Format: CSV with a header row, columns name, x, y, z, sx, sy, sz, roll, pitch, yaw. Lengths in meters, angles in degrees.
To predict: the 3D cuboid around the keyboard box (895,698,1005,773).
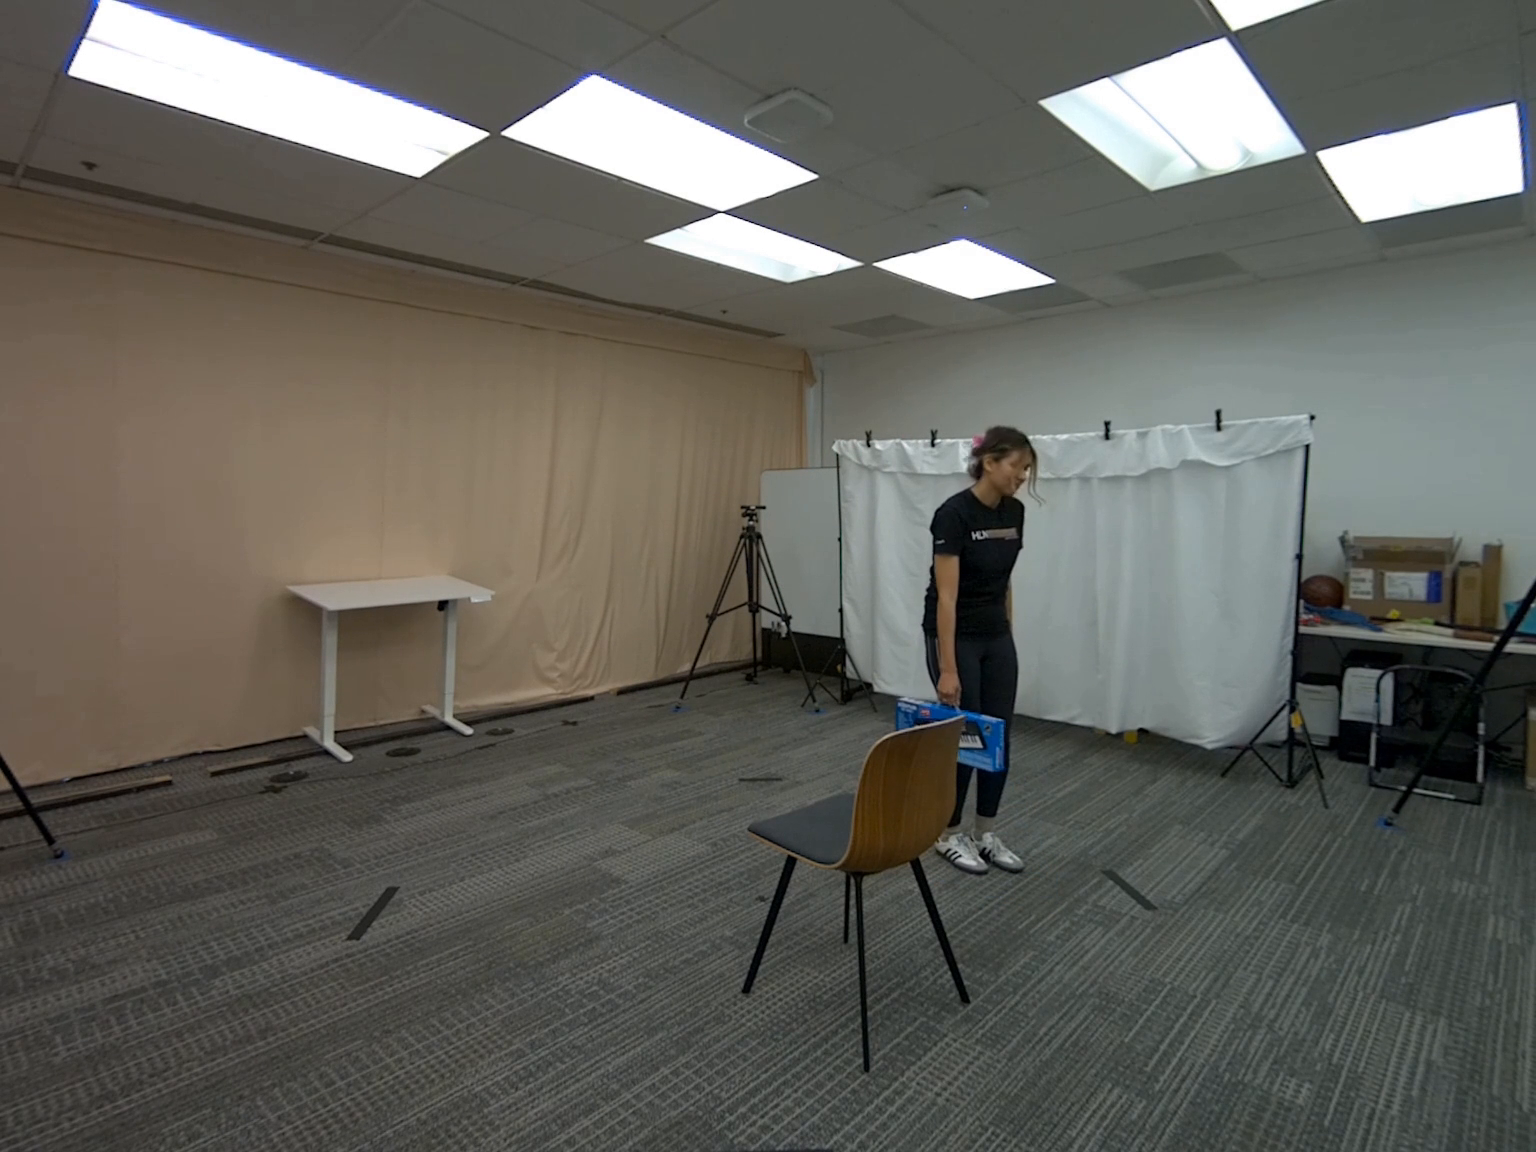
name,x,y,z,sx,sy,sz,roll,pitch,yaw
keyboard box,0.650,0.570,3.027,0.057,0.175,0.451,-2,4,-39
